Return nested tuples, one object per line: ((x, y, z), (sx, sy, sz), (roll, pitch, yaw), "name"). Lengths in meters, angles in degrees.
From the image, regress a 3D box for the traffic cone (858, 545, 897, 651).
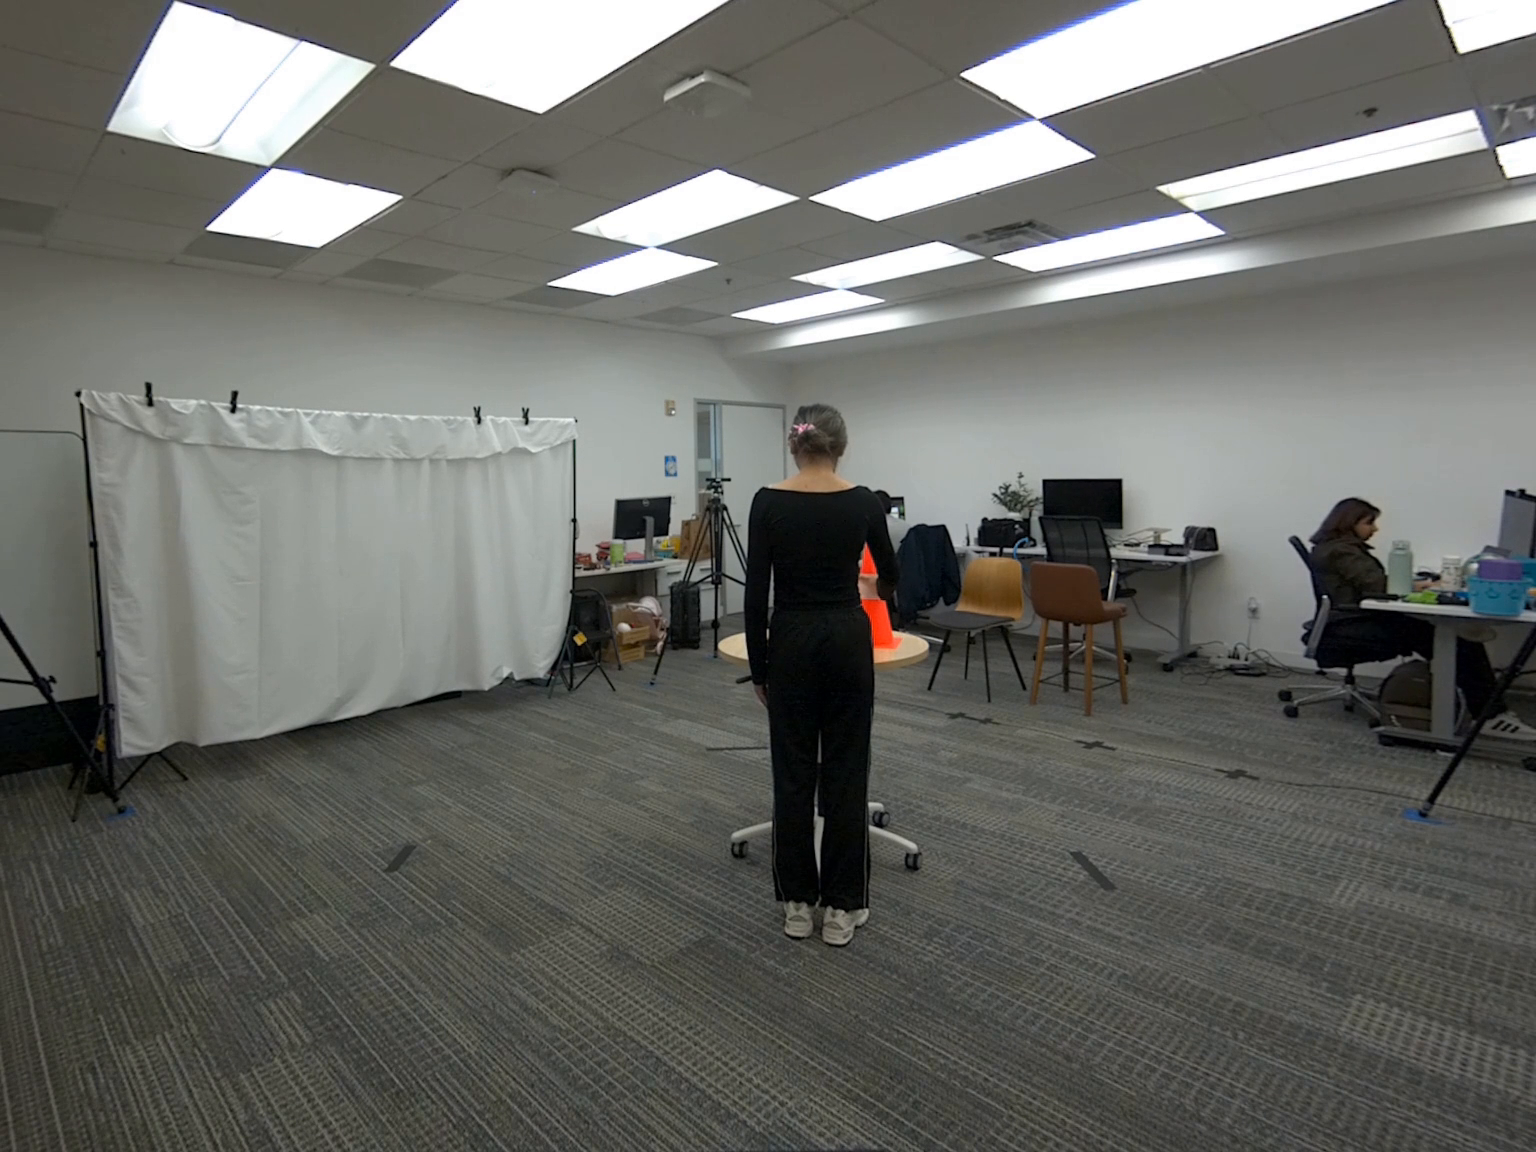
((0.387, 0.059, 3.113), (0.207, 0.381, 0.203), (2, 7, 9), "traffic cone")
